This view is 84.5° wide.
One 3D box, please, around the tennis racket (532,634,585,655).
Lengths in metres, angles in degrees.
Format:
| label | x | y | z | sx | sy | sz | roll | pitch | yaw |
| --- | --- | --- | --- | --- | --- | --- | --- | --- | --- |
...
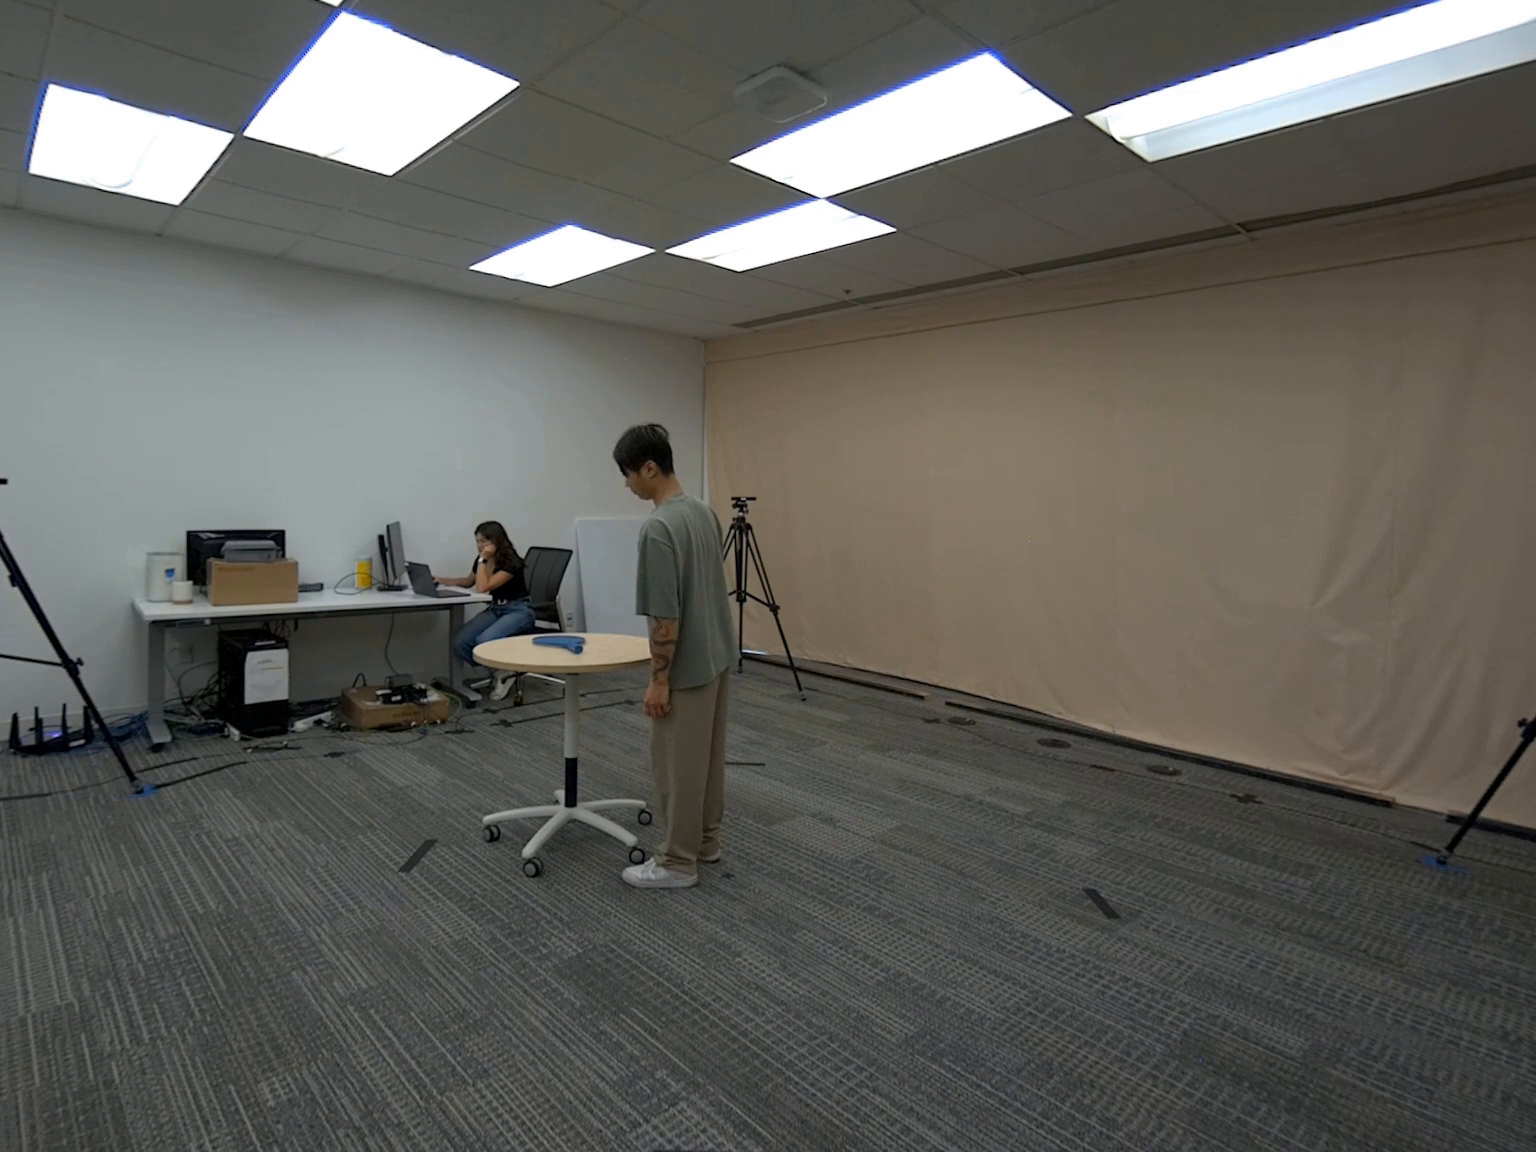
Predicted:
| label | x | y | z | sx | sy | sz | roll | pitch | yaw |
| --- | --- | --- | --- | --- | --- | --- | --- | --- | --- |
| tennis racket | -0.826 | 0.266 | 3.400 | 0.210 | 0.032 | 0.441 | -3 | 5 | -26 |
